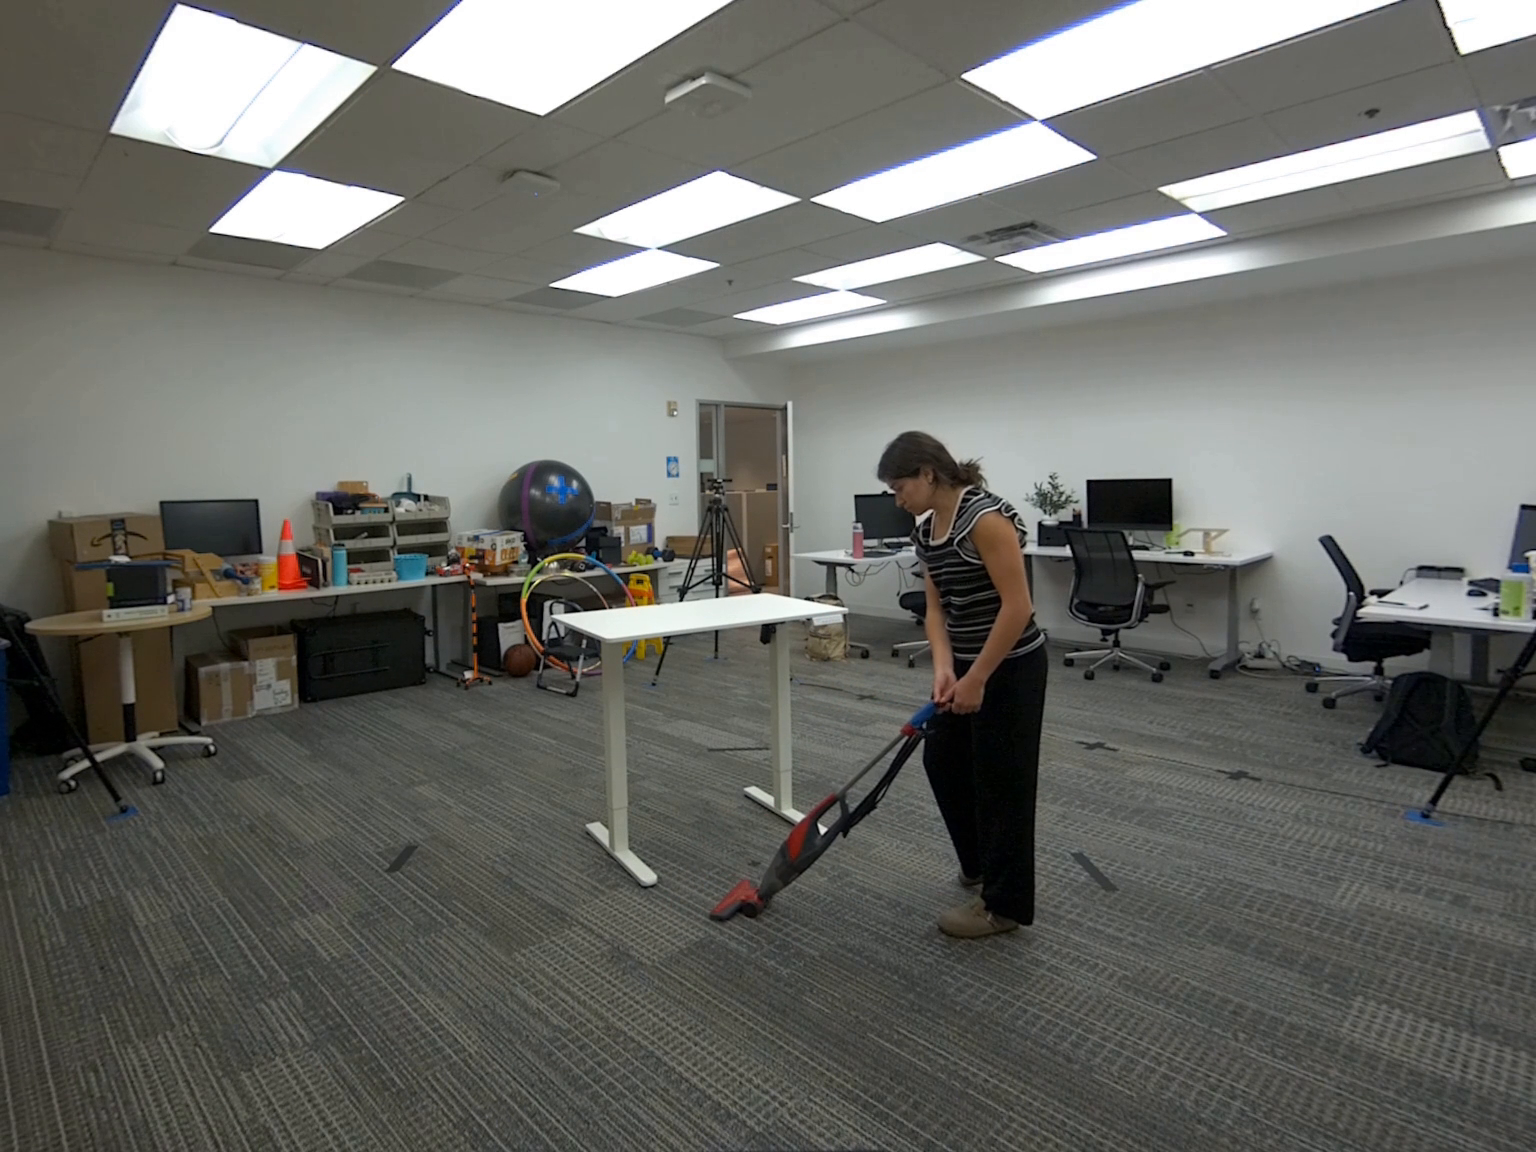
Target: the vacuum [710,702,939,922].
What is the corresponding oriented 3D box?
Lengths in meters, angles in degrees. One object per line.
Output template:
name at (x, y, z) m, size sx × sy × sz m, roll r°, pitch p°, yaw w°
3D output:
vacuum at (0.237, 0.723, 2.610) m, size 0.145 × 1.048 × 0.250 m, roll 44°, pitch 22°, yaw 5°
